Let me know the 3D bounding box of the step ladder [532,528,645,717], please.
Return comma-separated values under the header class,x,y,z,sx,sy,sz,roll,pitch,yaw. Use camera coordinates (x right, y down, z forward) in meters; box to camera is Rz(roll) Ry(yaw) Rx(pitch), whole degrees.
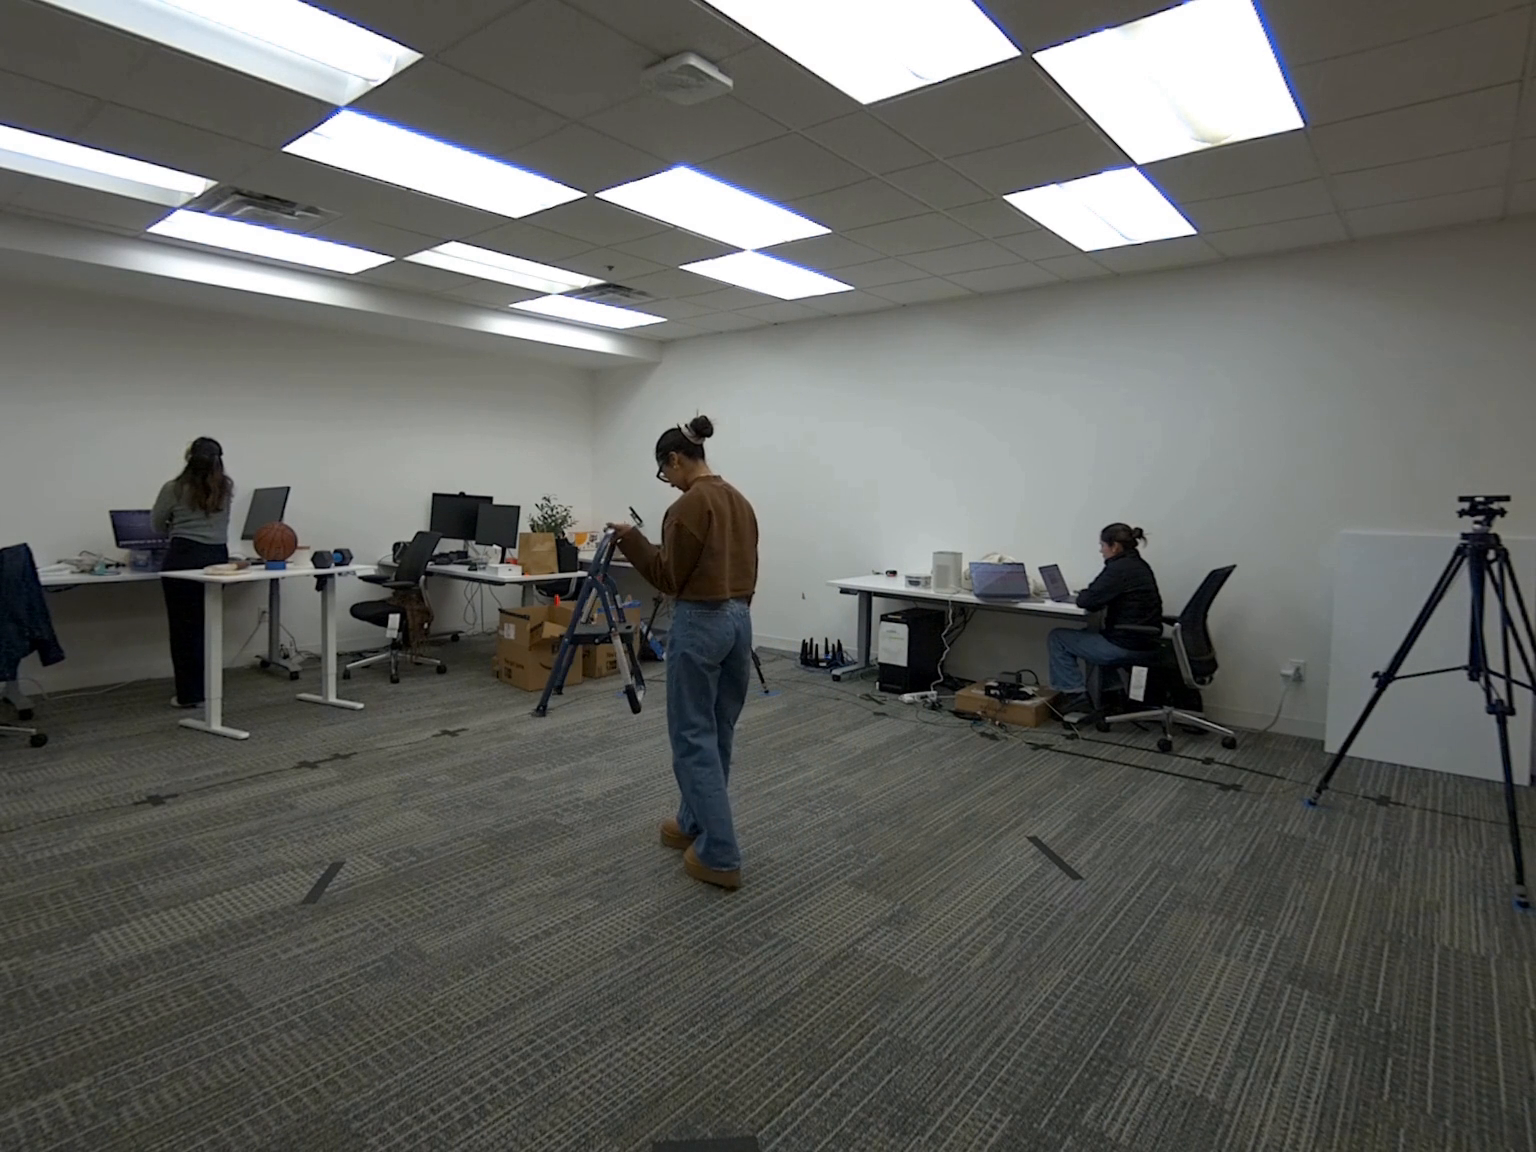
class,x,y,z,sx,sy,sz,roll,pitch,yaw
step ladder,-0.616,0.137,2.945,0.348,0.606,0.432,-1,0,-5
